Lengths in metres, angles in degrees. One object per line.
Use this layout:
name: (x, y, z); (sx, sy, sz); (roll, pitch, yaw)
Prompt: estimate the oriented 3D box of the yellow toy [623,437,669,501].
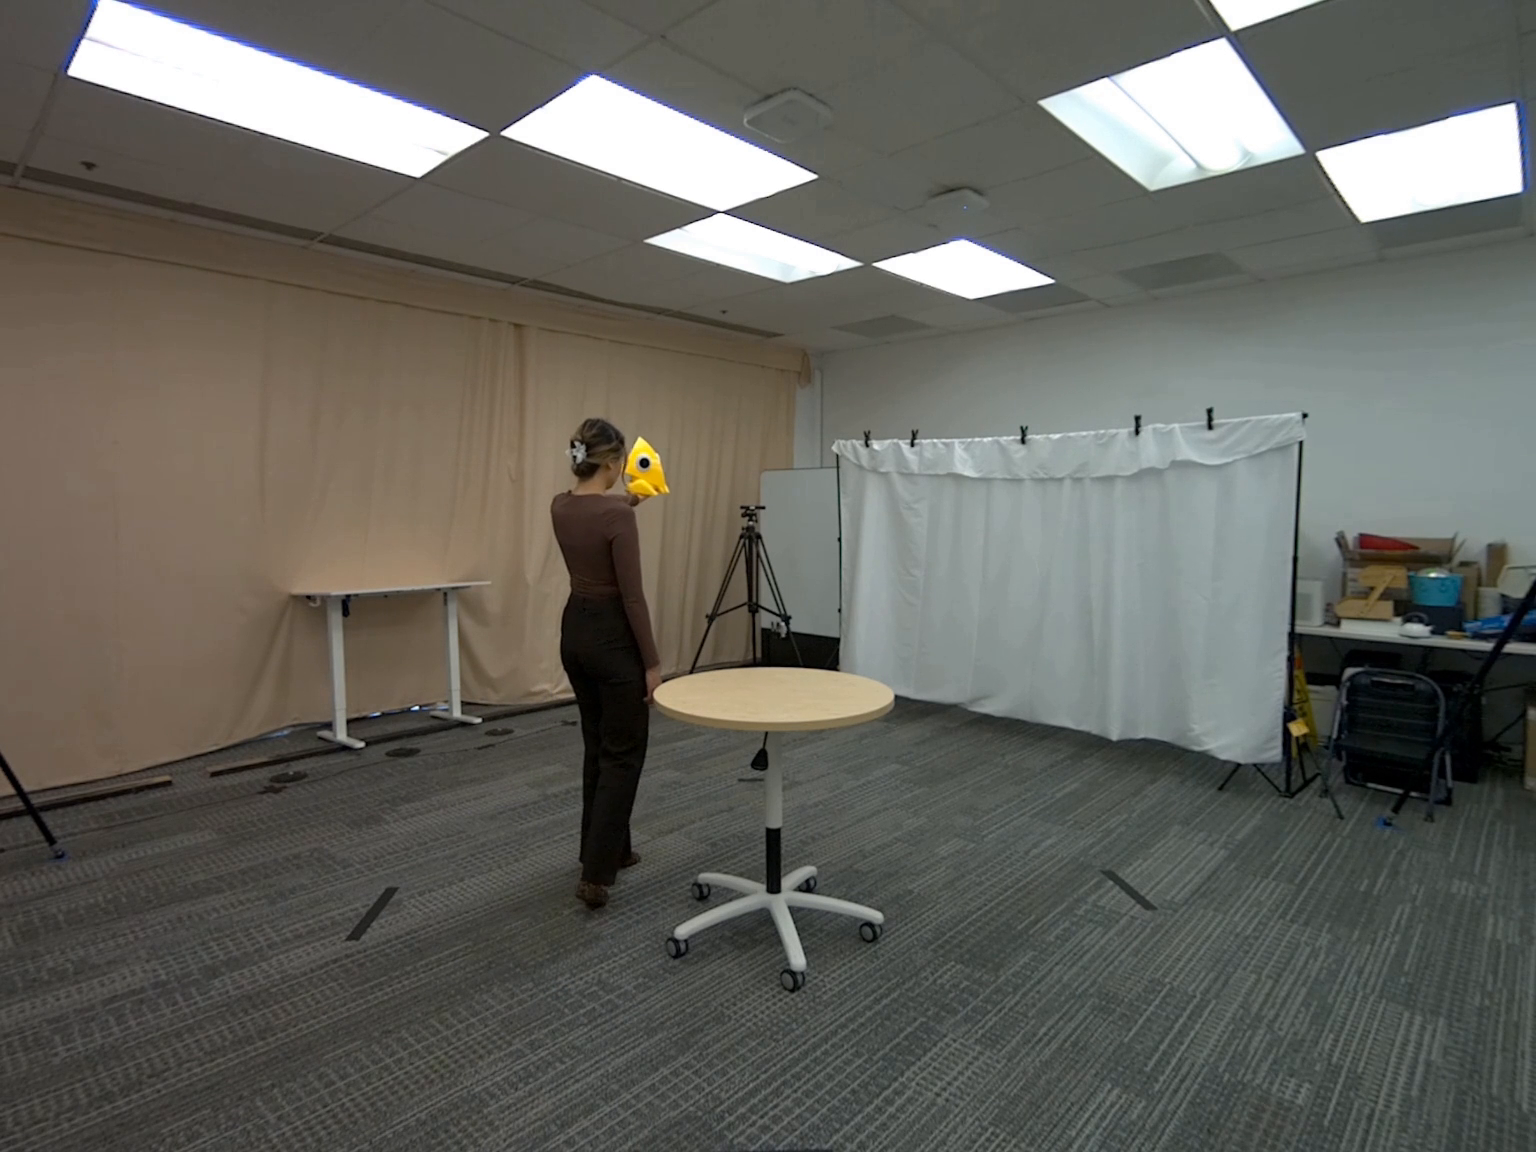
yellow toy: (-0.532, -0.490, 3.731); (0.197, 0.229, 0.202); (13, 13, 17)
